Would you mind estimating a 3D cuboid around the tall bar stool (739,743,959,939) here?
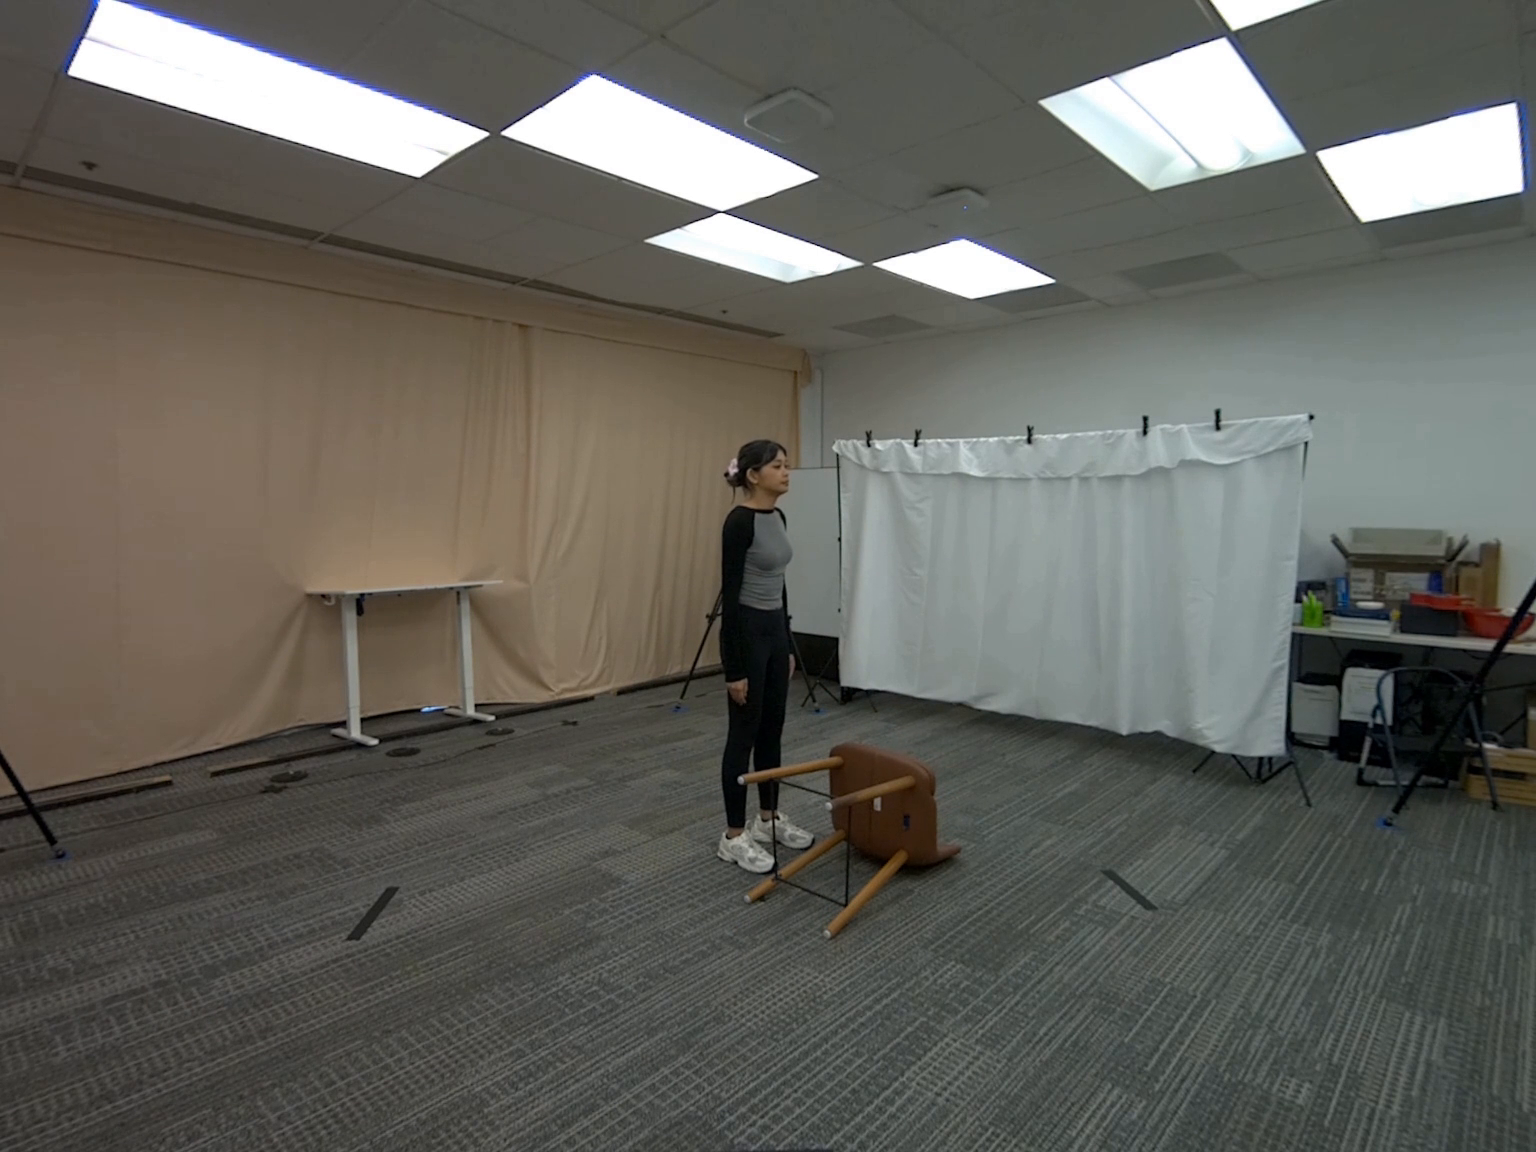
[{"bbox_3d":[0.343,0.902,3.120,0.472,0.467,0.862,3,5,43],"label":"tall bar stool"}]
